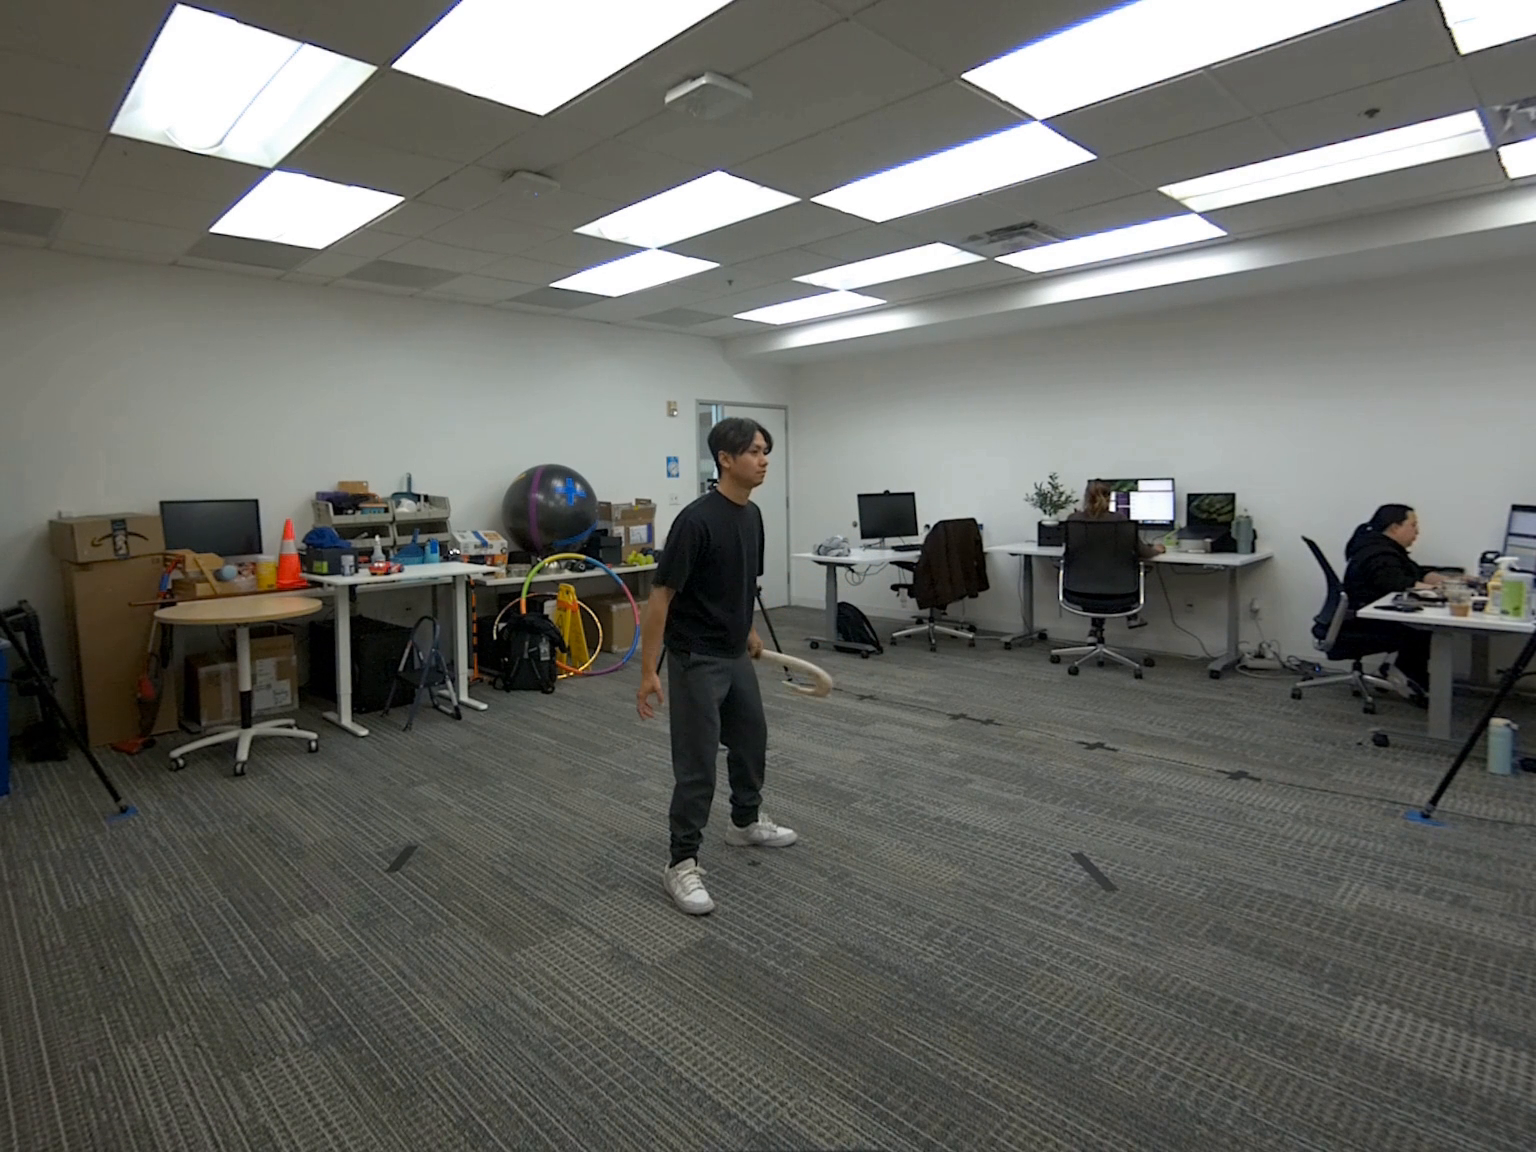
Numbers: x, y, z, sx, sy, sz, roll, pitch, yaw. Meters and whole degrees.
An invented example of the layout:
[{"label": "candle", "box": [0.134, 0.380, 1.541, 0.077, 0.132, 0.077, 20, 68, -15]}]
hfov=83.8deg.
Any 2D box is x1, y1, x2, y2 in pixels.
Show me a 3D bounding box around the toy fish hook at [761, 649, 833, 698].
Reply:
[{"label": "toy fish hook", "box": [0.029, 0.338, 3.370, 0.515, 0.219, 0.048, 23, 48, 13]}]
